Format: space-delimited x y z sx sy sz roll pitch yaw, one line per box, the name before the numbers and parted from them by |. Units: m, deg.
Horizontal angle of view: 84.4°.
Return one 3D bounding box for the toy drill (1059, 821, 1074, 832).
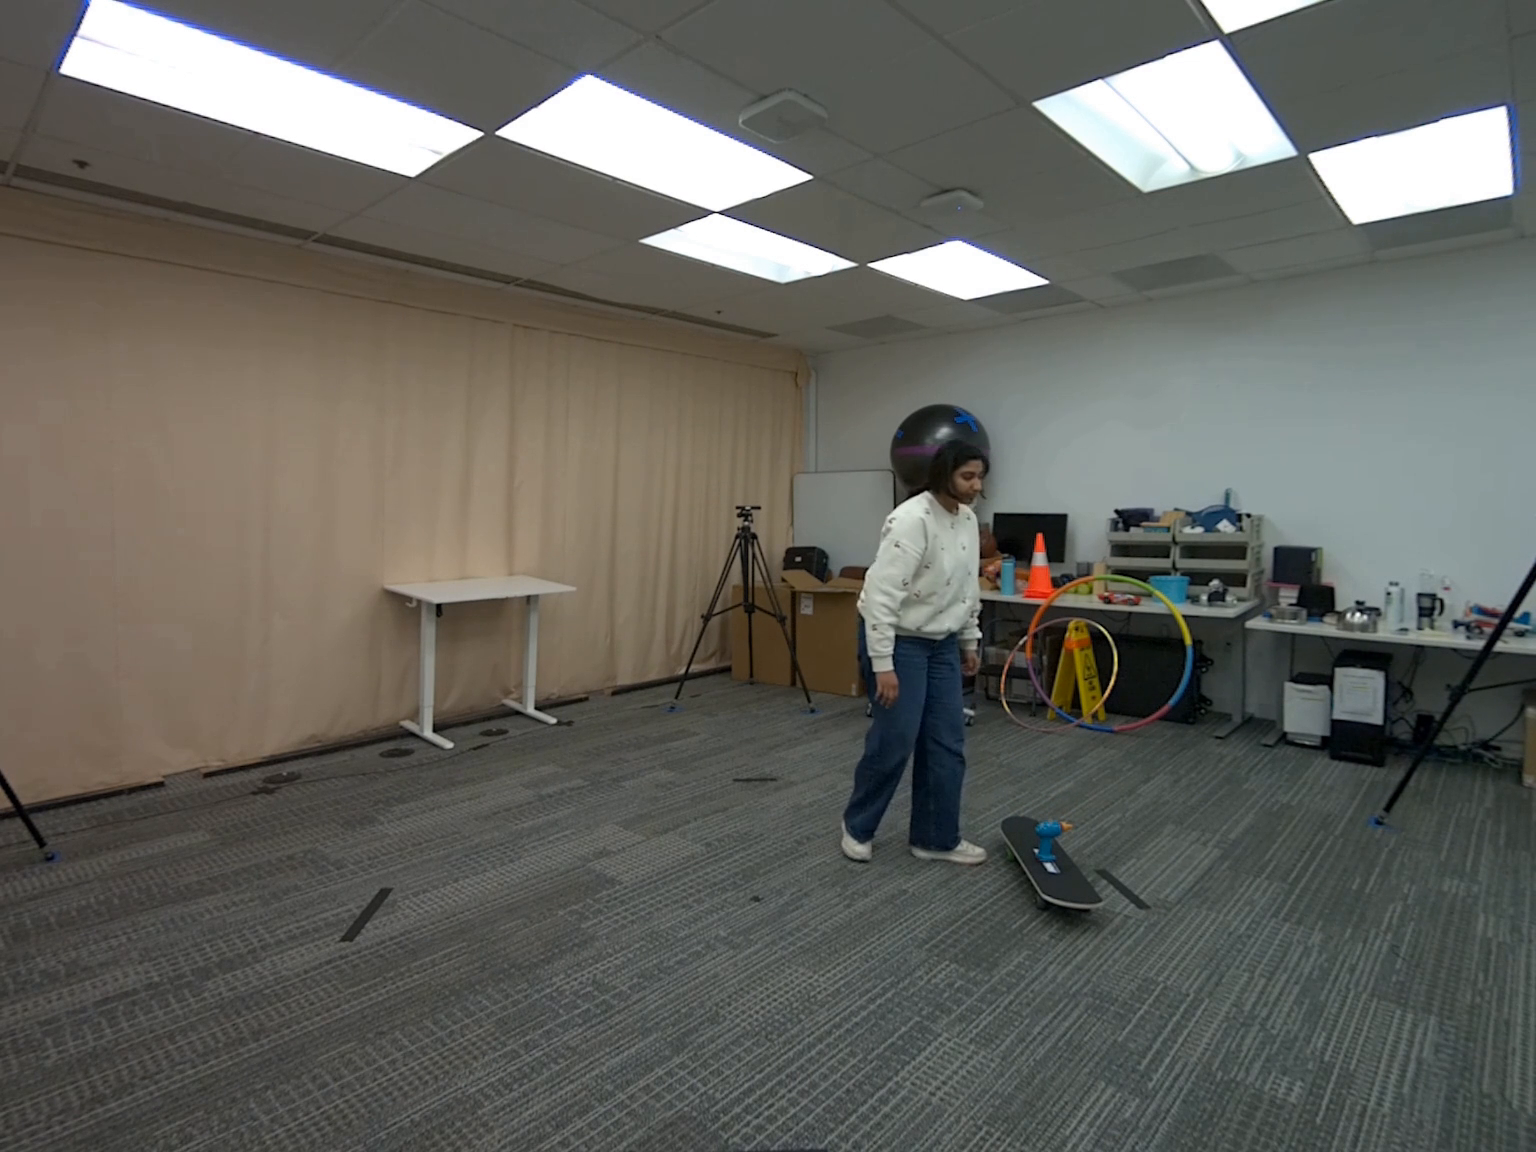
toy drill | 1.078 0.975 3.090 0.167 0.145 0.062 0 7 -17
